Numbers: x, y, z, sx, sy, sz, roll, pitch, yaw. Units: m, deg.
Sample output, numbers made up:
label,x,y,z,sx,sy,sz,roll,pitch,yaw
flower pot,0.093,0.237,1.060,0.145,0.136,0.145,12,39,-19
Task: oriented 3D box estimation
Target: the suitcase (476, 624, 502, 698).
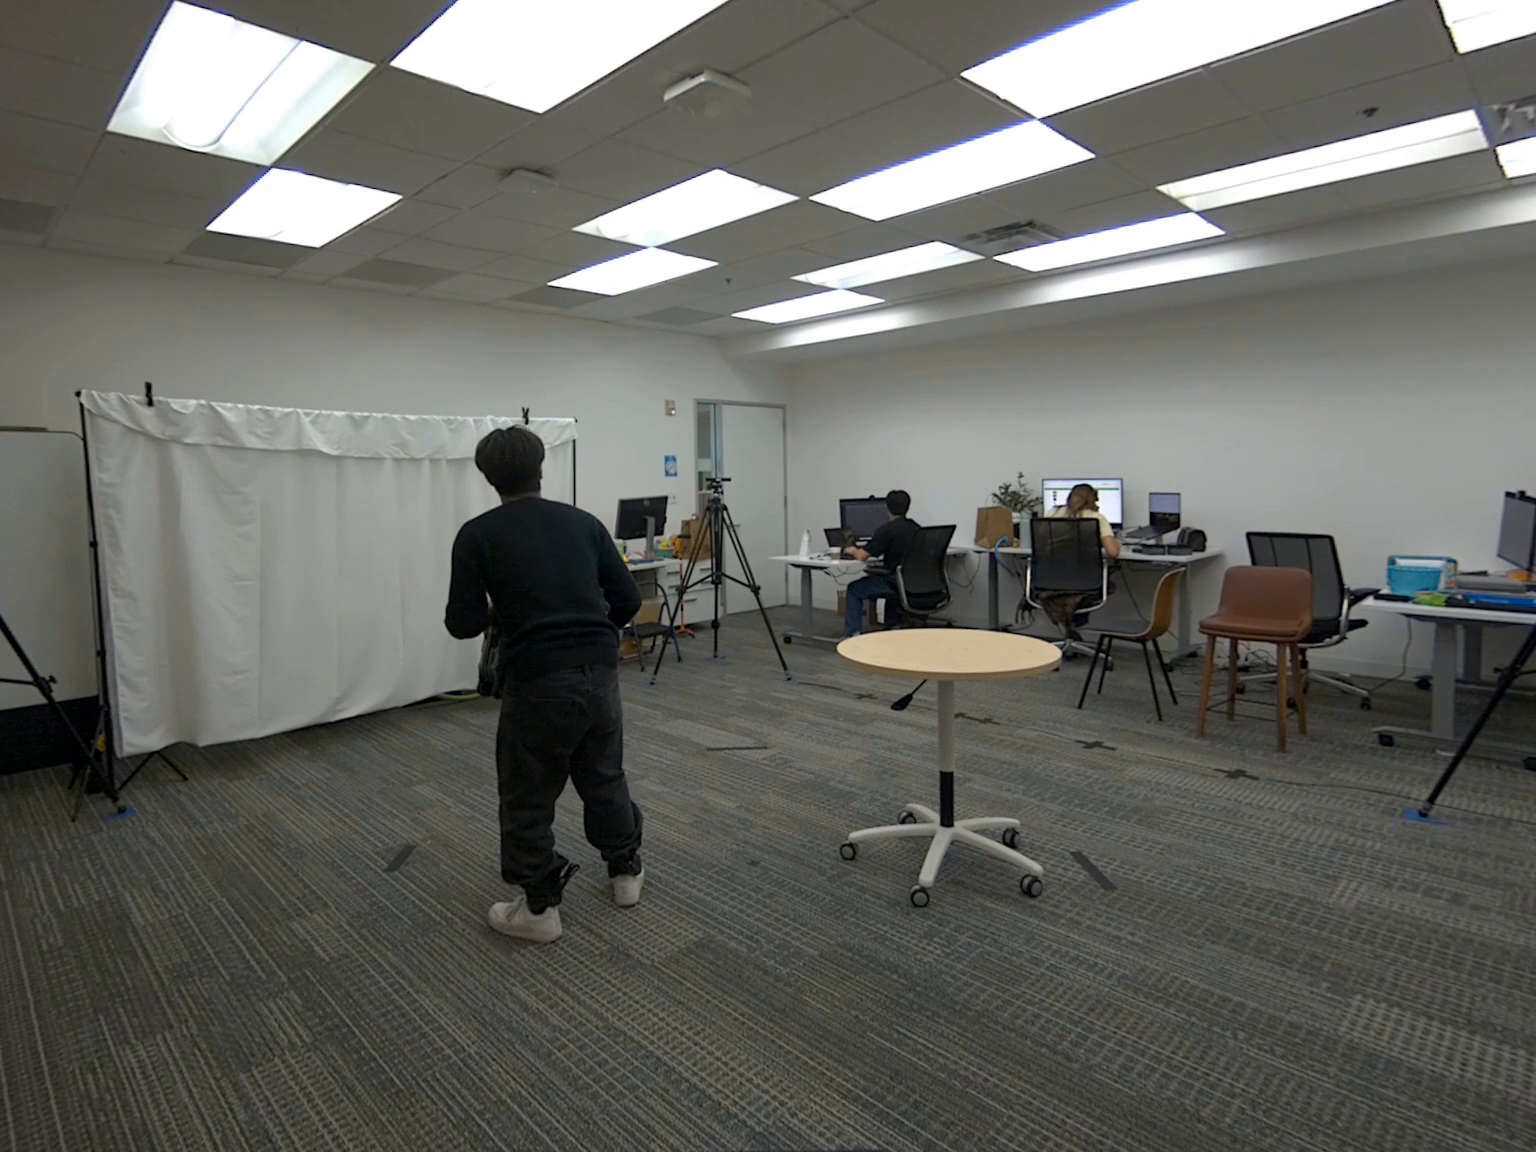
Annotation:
label,x,y,z,sx,sy,sz,roll,pitch,yaw
suitcase,-0.773,0.154,2.939,0.364,0.554,0.253,12,-12,-31
